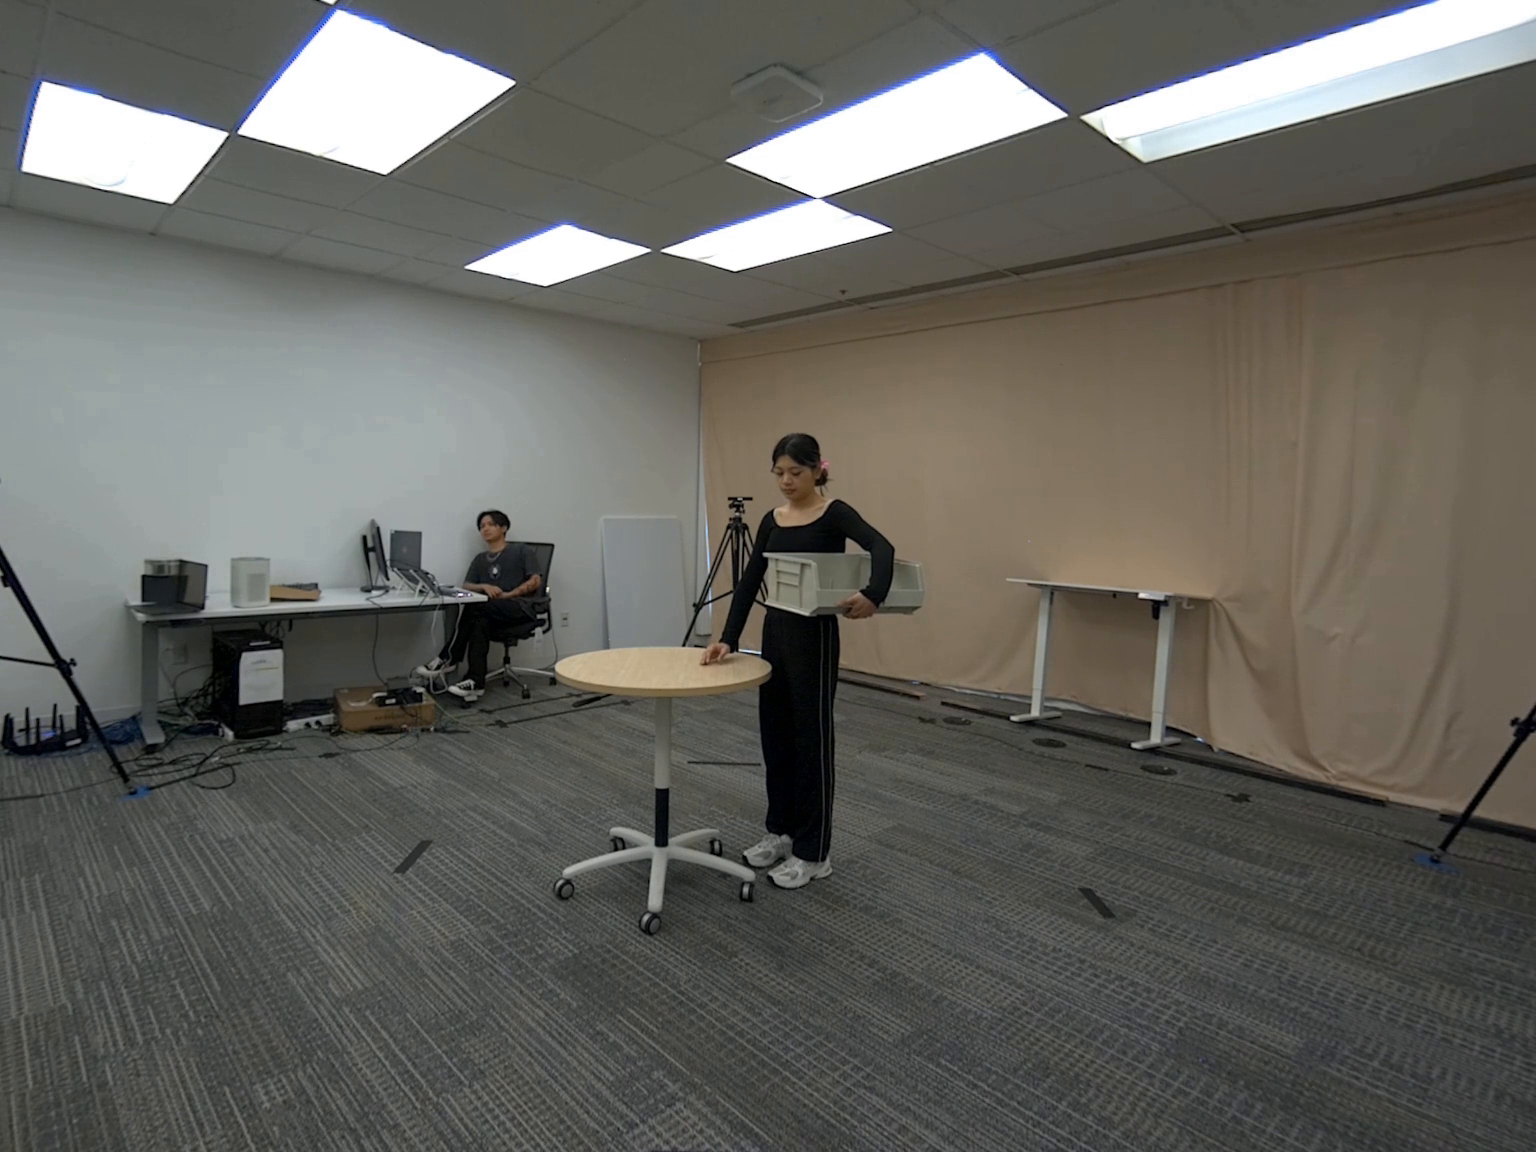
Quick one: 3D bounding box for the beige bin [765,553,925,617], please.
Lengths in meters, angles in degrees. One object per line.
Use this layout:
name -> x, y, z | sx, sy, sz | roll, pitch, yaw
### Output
beige bin -> 0.250, 0.028, 2.868 | 0.415, 0.188, 0.385 | -1, 5, -25
